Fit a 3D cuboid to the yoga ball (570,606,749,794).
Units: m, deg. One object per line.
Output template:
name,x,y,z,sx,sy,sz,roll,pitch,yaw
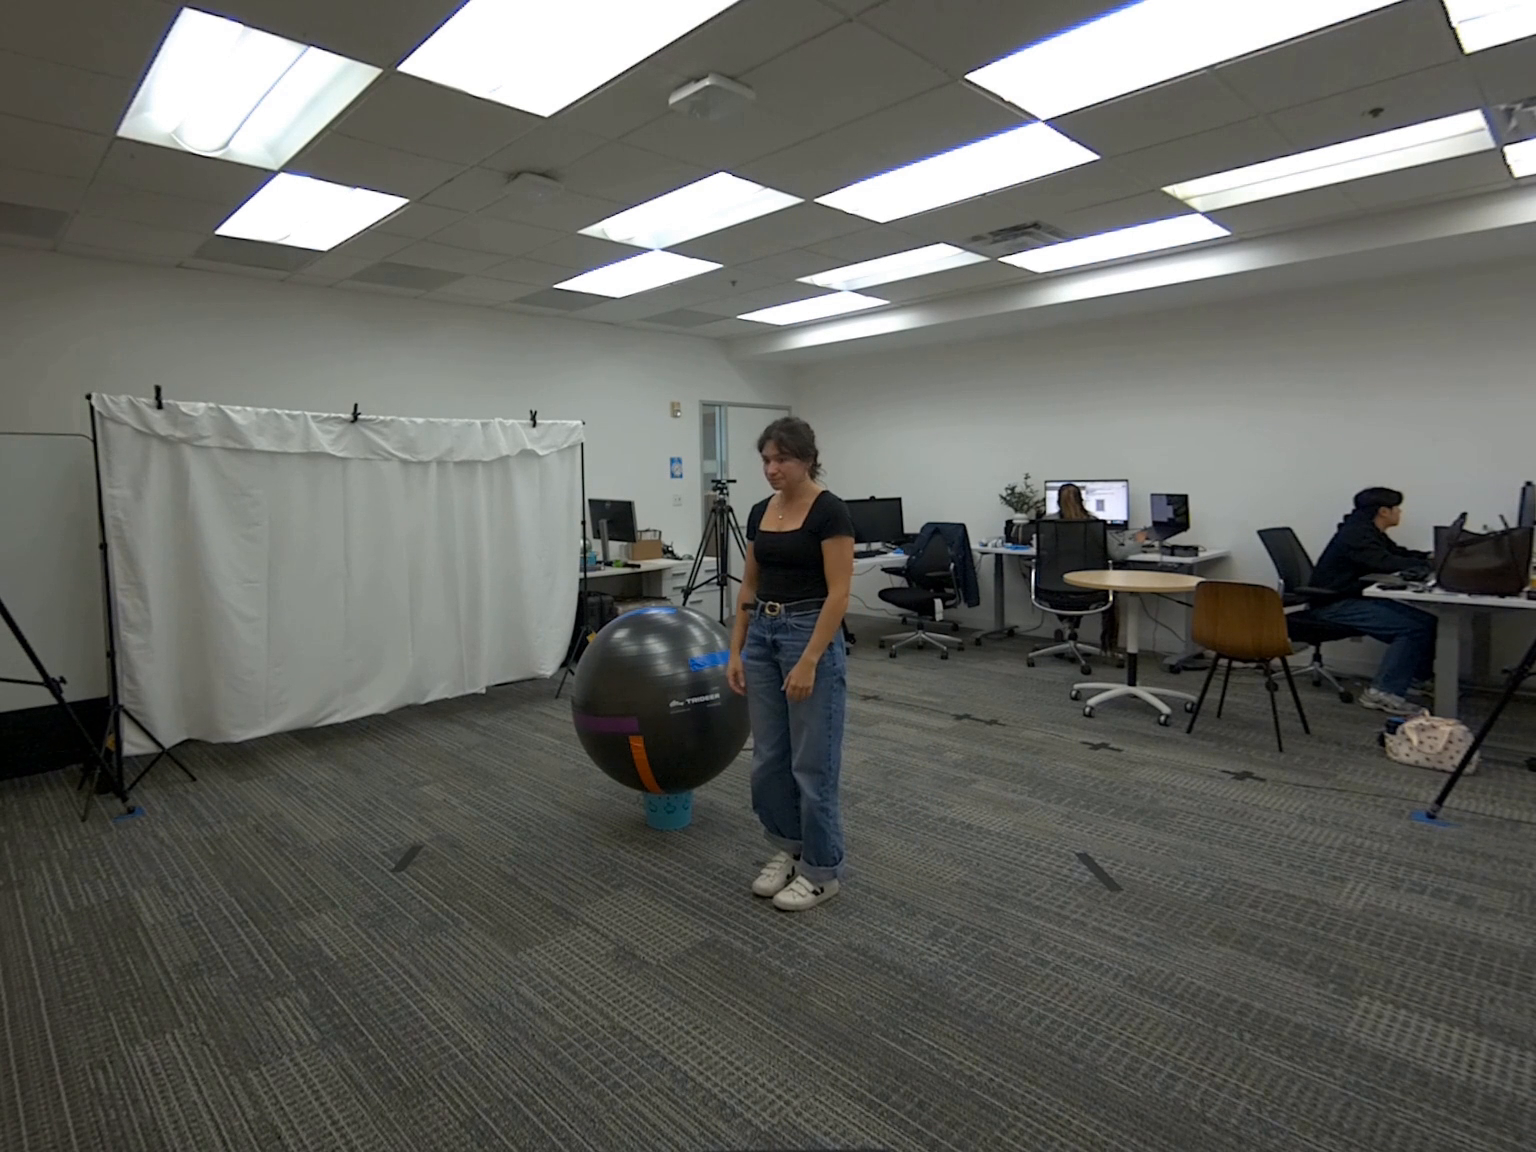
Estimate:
yoga ball,-0.429,0.499,3.495,0.757,0.755,0.762,-1,5,-2
